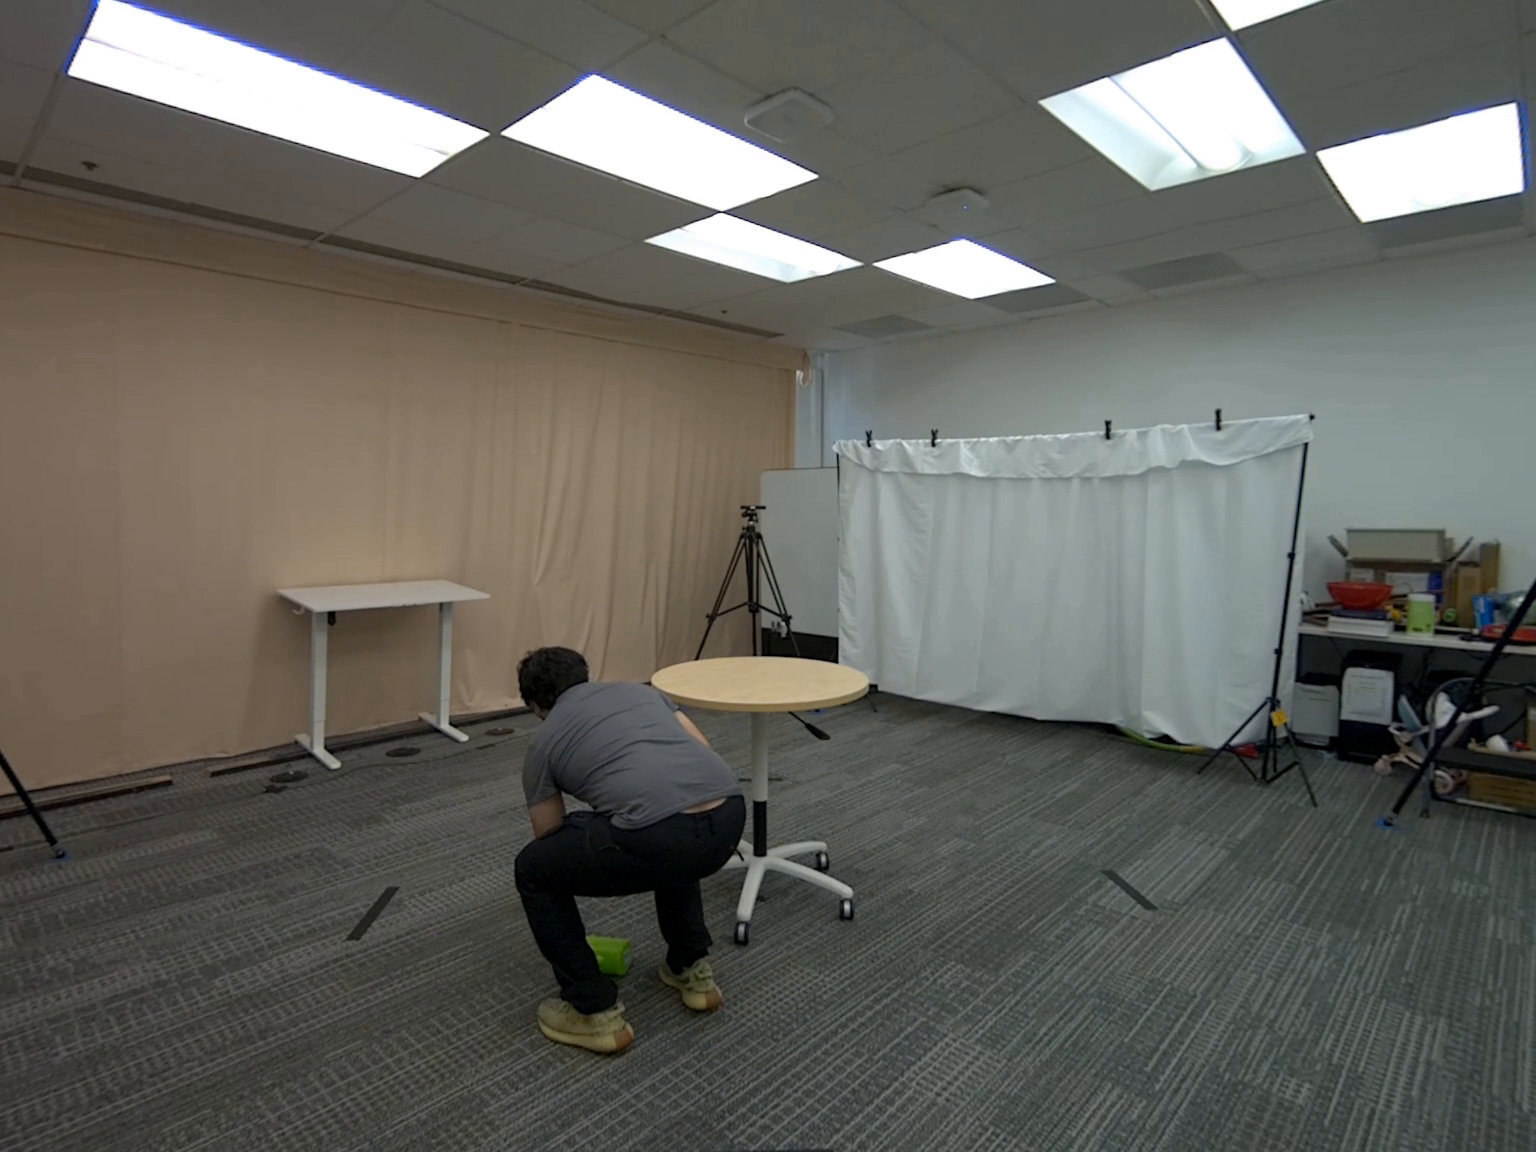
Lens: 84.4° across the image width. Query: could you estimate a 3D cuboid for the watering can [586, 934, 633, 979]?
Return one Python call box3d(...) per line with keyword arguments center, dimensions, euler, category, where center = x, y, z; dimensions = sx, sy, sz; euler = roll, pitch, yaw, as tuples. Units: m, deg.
box3d(center=(-0.493, 1.133, 2.564), dimensions=(0.179, 0.098, 0.276), euler=(1, 4, 8), category="watering can")
